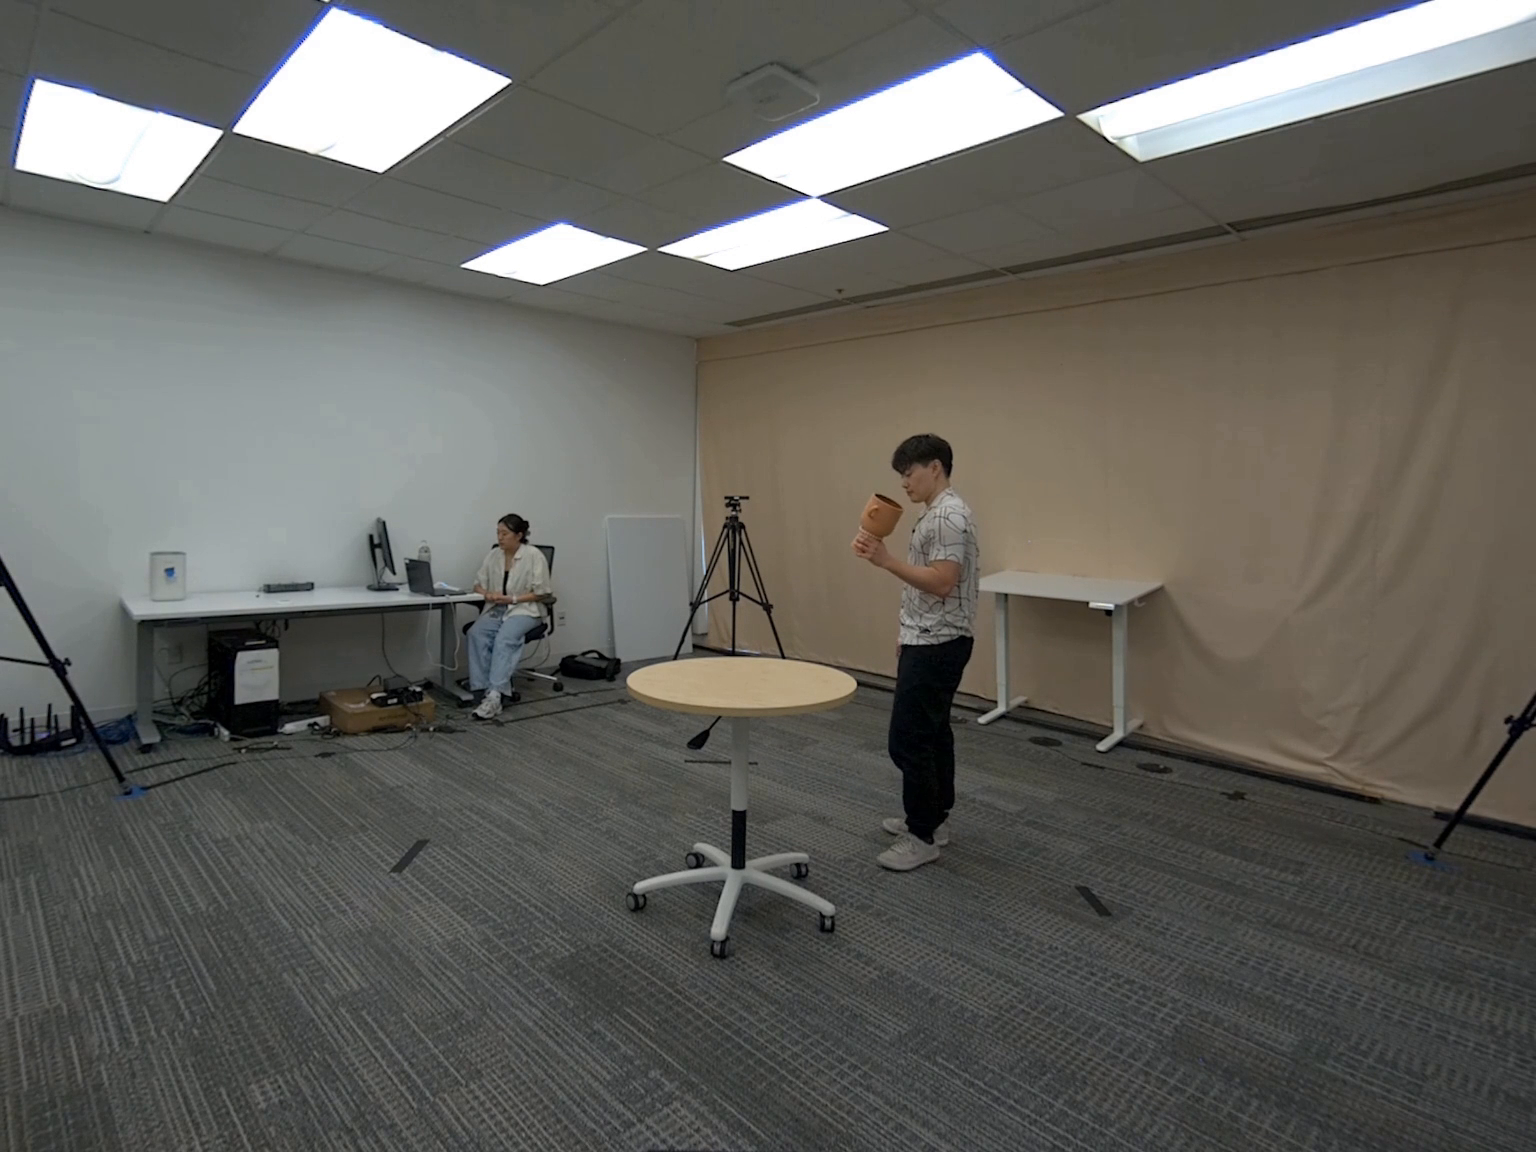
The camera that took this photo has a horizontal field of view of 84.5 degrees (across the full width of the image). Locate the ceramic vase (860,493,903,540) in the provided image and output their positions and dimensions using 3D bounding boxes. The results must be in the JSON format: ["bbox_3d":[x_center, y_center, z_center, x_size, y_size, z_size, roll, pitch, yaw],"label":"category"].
[{"bbox_3d":[0.405,-0.187,3.186,0.156,0.218,0.137,20,19,-17],"label":"ceramic vase"}]
